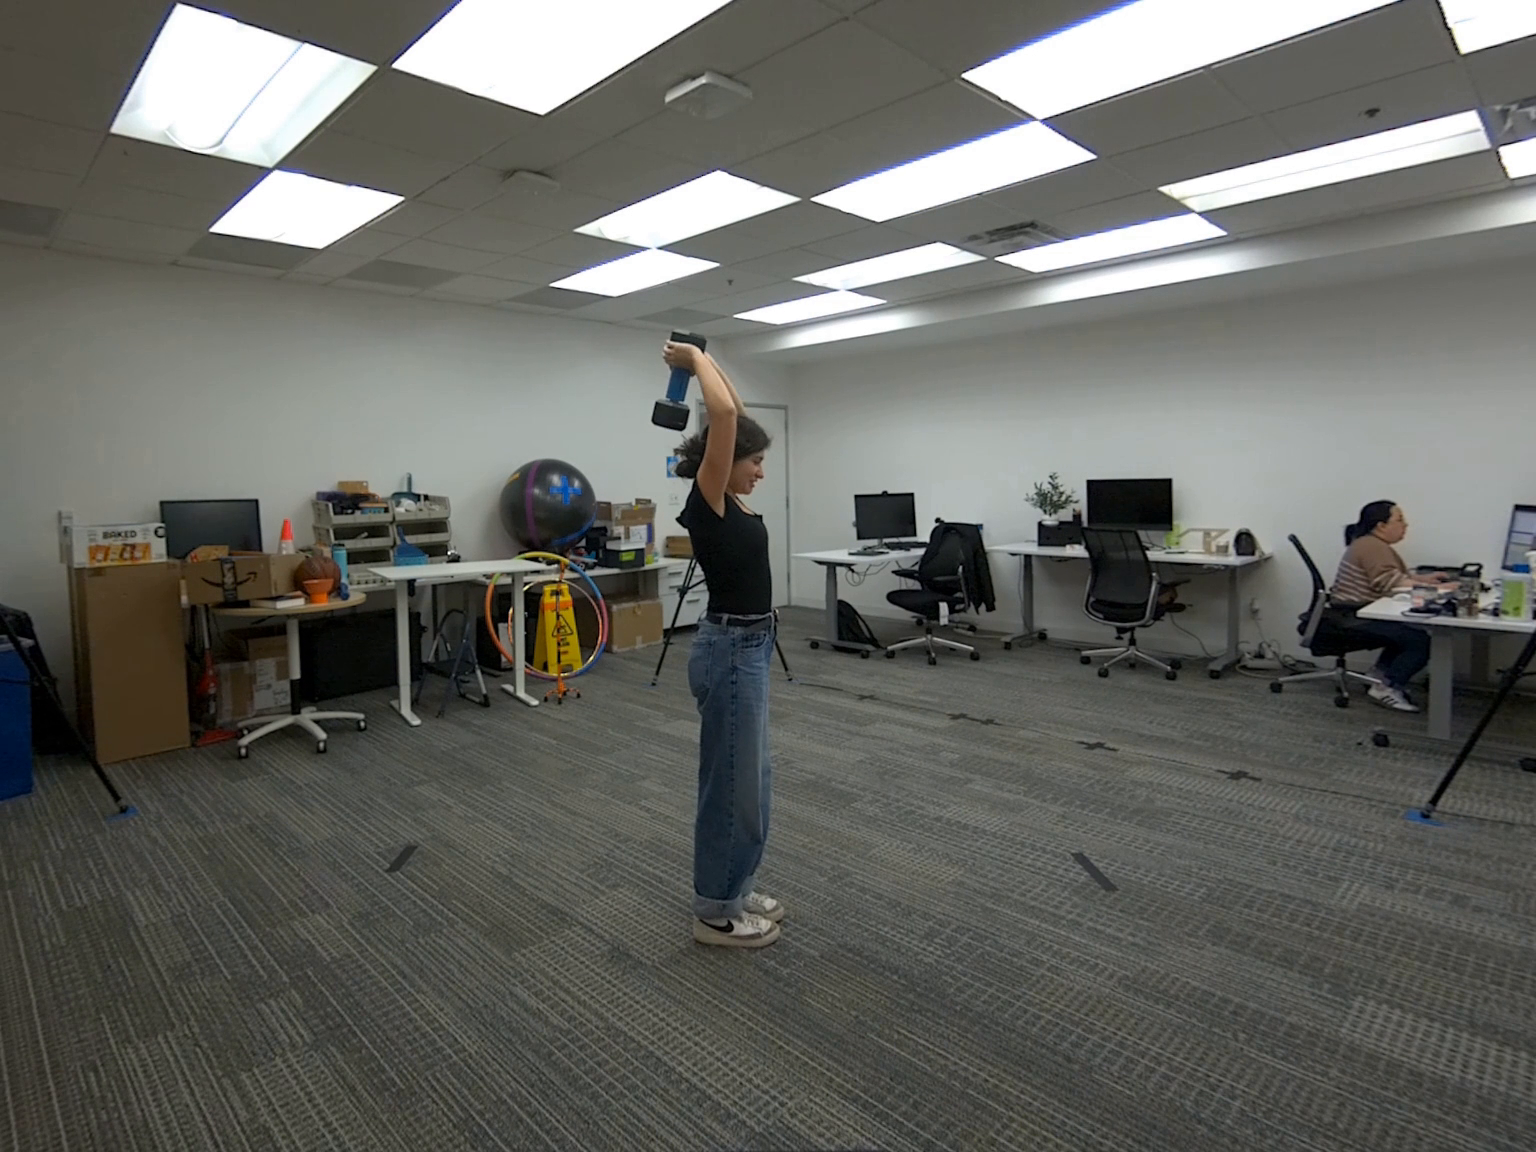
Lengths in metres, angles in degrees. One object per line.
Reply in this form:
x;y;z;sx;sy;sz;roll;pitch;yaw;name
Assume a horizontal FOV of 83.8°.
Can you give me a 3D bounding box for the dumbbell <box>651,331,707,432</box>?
-0.266;-0.582;2.570;0.127;0.291;0.106;22;13;28;dumbbell
